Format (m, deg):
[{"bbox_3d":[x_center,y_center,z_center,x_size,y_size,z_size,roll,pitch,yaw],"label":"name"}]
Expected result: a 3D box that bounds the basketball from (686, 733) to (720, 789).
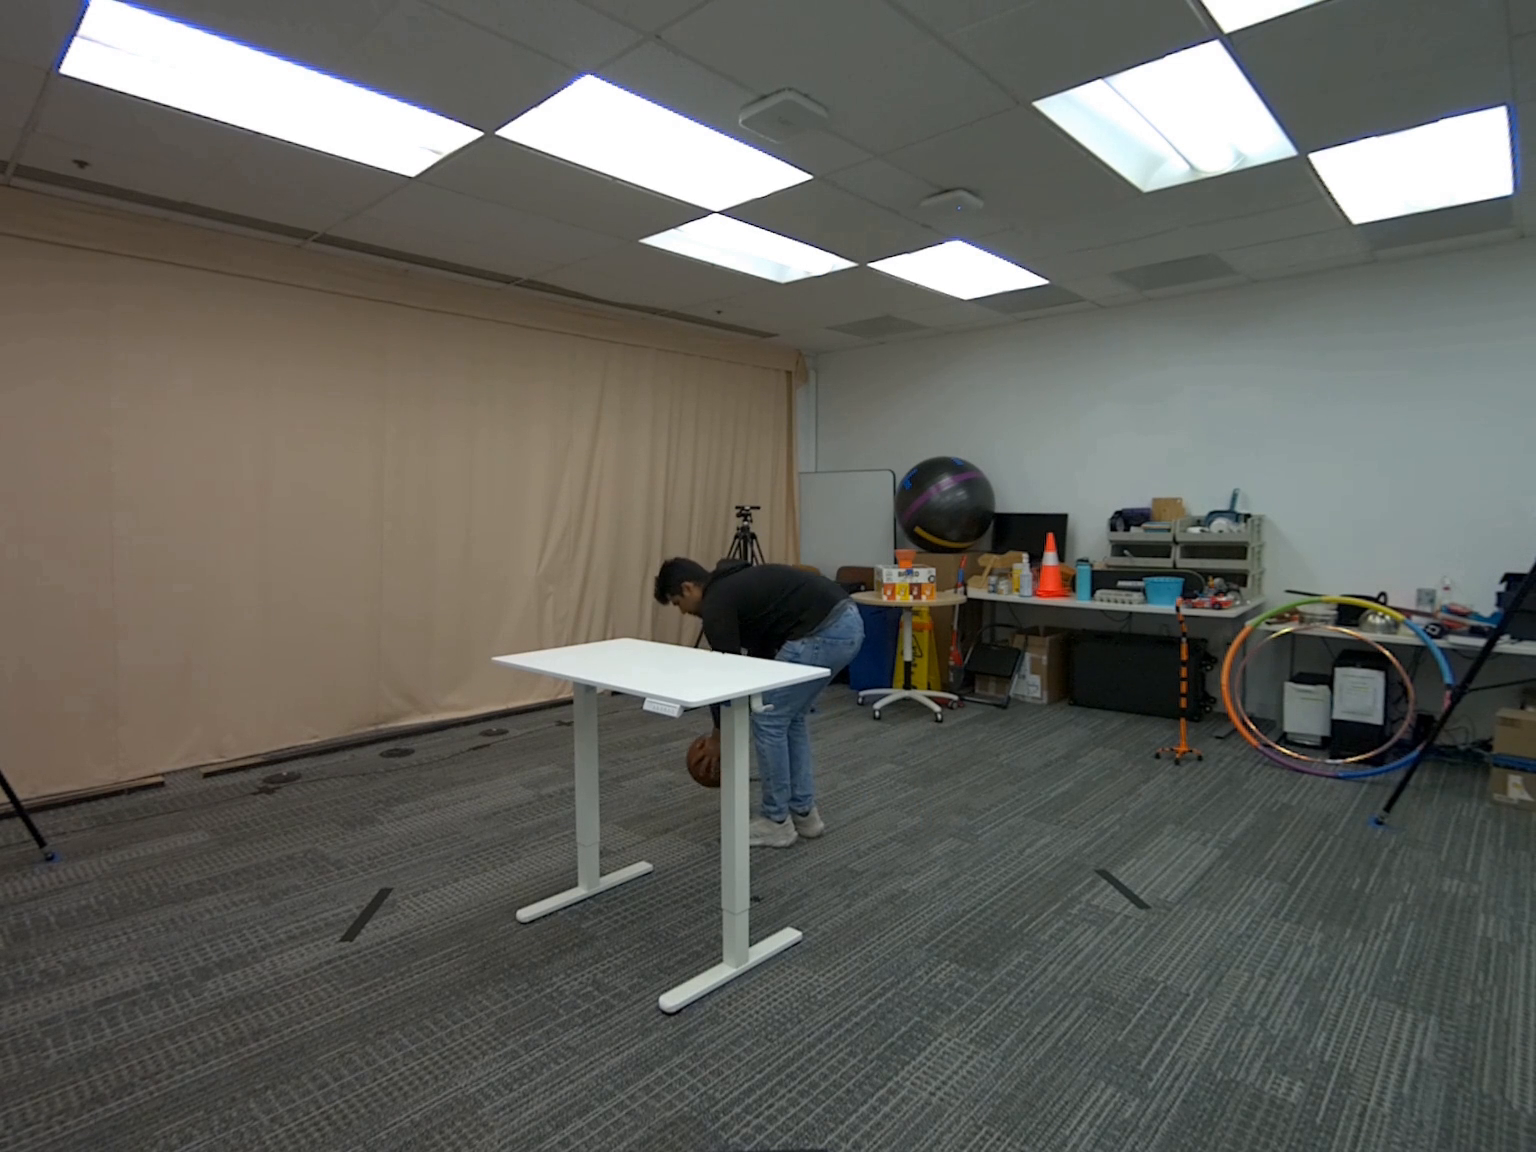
[{"bbox_3d":[-0.242,0.791,3.705,0.236,0.235,0.237,0,4,-2],"label":"basketball"}]
